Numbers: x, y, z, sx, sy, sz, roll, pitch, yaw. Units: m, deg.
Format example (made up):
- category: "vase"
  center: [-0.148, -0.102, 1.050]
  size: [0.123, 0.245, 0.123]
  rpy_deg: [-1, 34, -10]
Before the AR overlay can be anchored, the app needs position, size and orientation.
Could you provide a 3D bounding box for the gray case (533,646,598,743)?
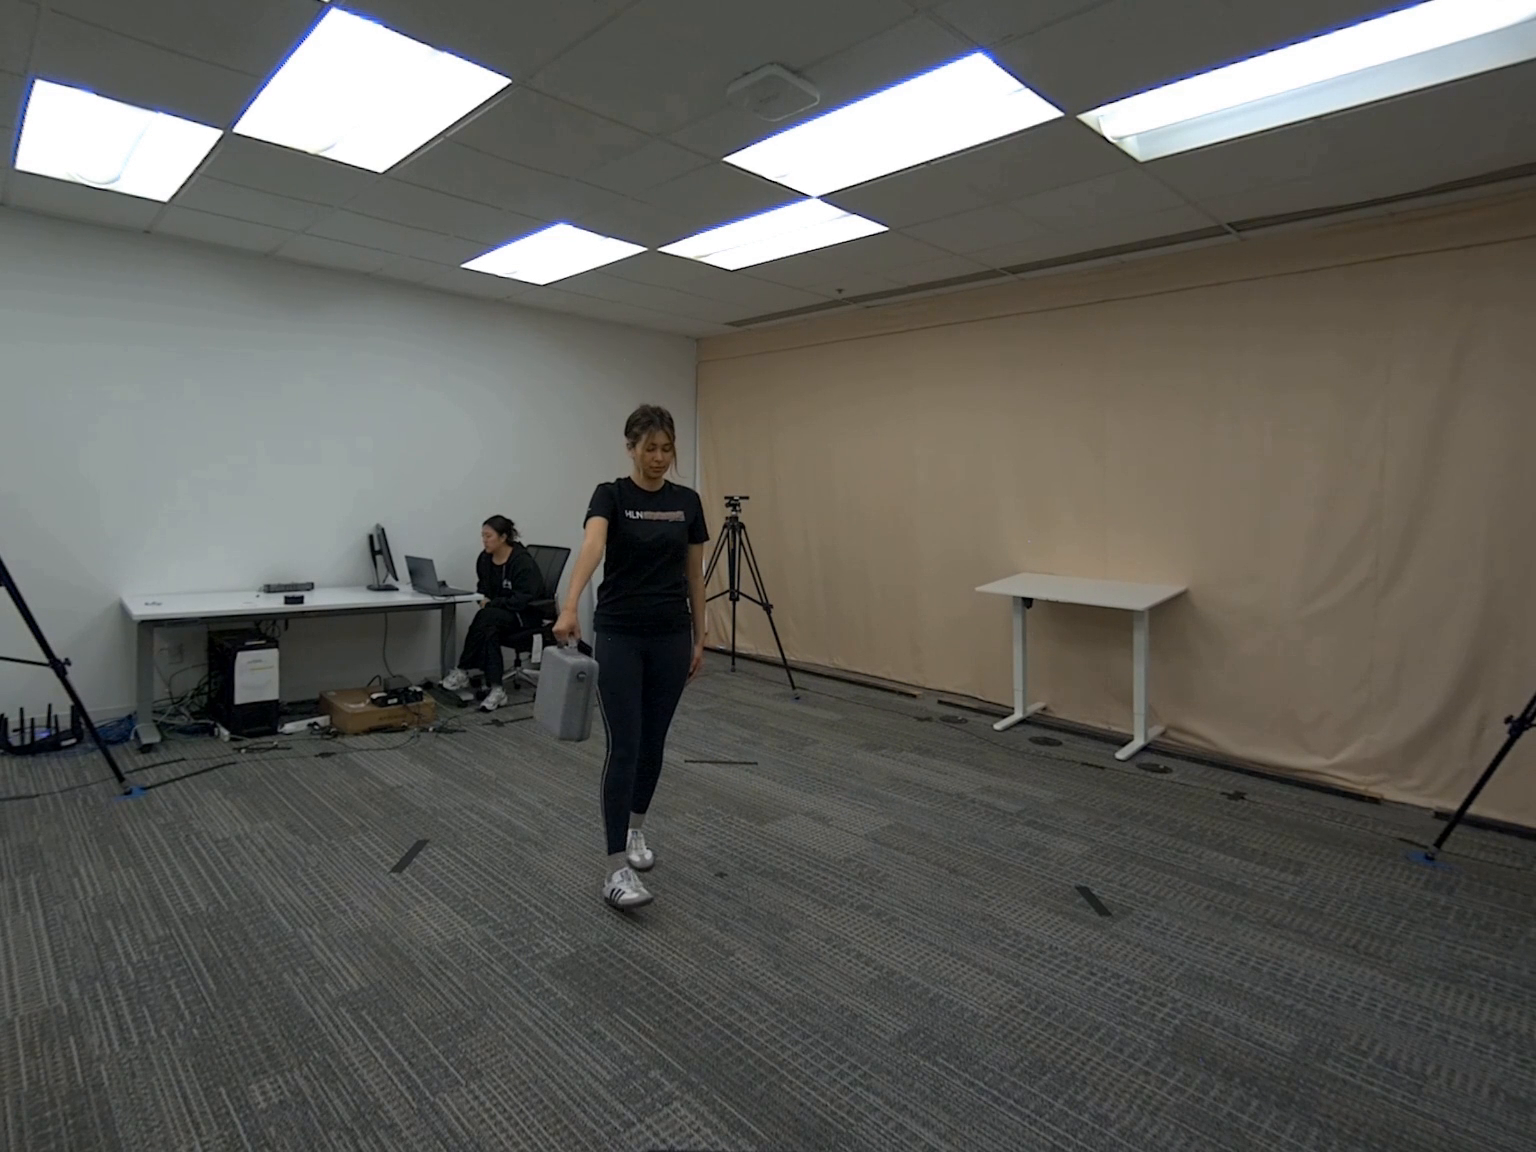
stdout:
- category: "gray case"
  center: [-0.640, 0.359, 2.605]
  size: [0.102, 0.260, 0.263]
  rpy_deg: [7, 2, -31]
